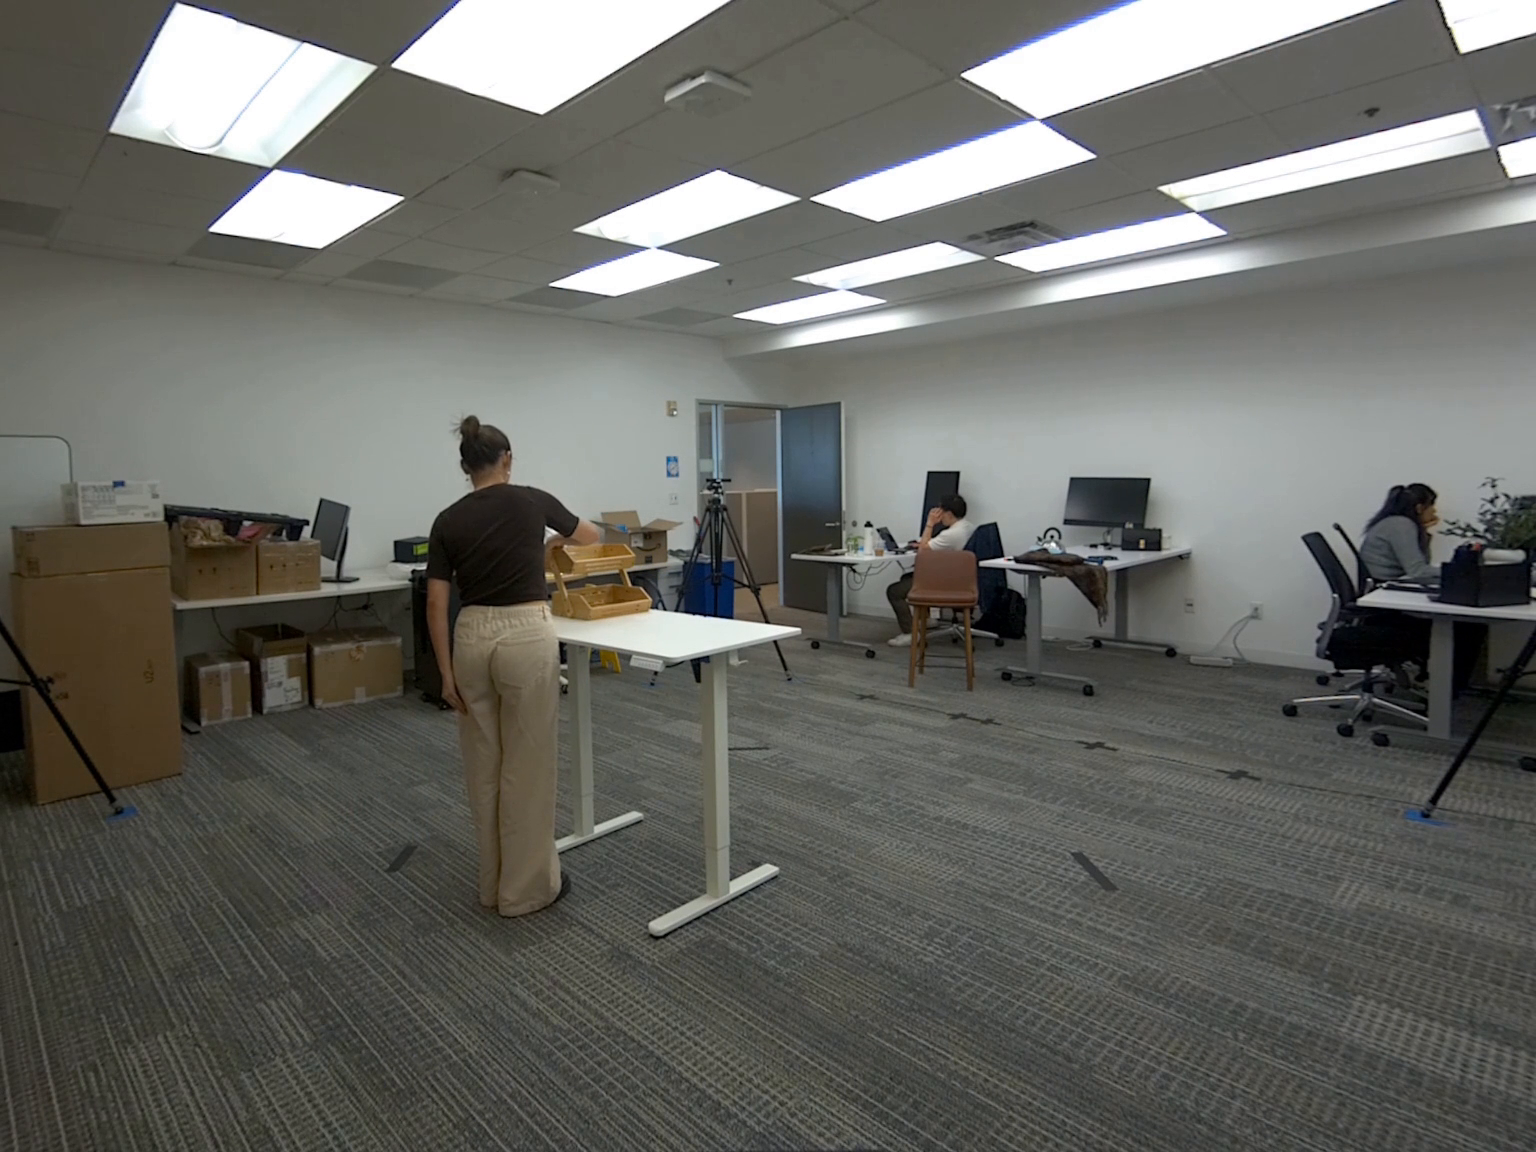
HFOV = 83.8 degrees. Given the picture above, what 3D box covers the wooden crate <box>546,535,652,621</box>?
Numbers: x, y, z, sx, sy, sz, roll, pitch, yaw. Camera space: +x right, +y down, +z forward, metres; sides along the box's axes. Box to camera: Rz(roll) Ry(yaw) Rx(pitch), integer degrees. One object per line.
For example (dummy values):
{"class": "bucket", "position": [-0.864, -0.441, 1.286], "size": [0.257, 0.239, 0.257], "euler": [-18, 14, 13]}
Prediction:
{"class": "wooden crate", "position": [-0.668, 0.013, 3.369], "size": [0.311, 0.272, 0.316], "euler": [2, 6, 43]}
